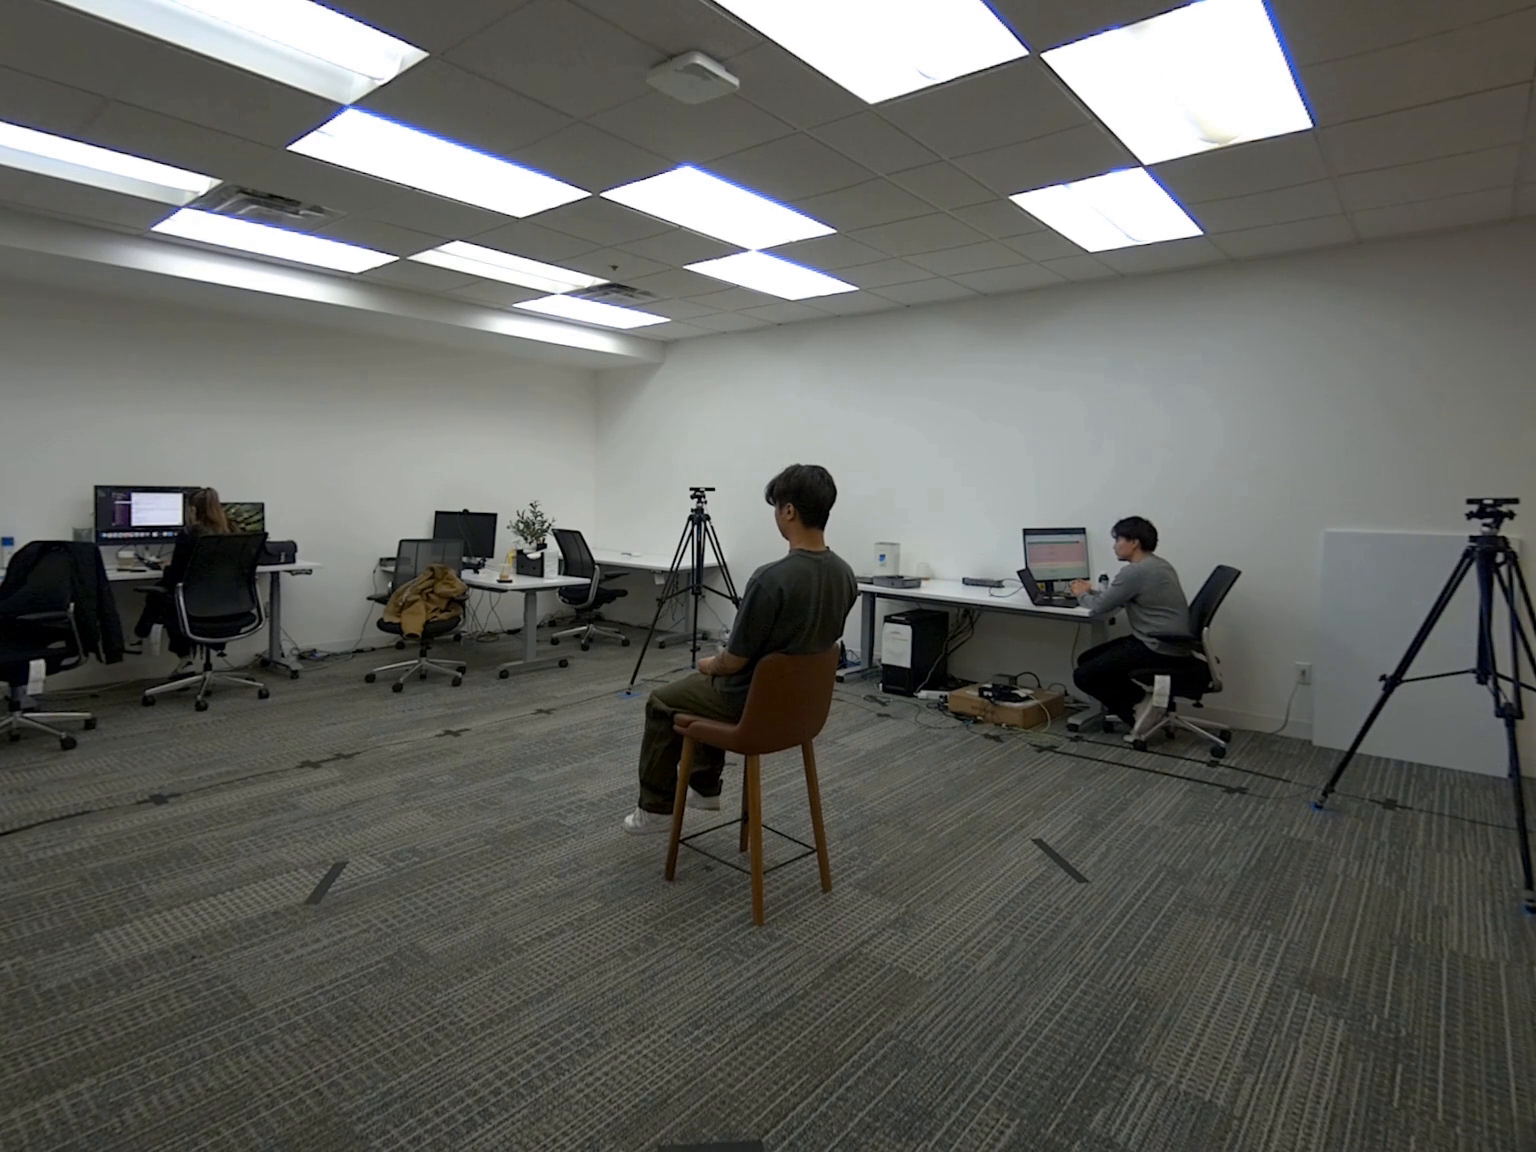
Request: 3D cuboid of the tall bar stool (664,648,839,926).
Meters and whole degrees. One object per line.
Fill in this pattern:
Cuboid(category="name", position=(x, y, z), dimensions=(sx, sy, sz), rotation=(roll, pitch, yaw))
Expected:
Cuboid(category="tall bar stool", position=(-0.050, 0.651, 2.960), dimensions=(0.484, 0.886, 0.442), rotation=(8, 6, 44))
